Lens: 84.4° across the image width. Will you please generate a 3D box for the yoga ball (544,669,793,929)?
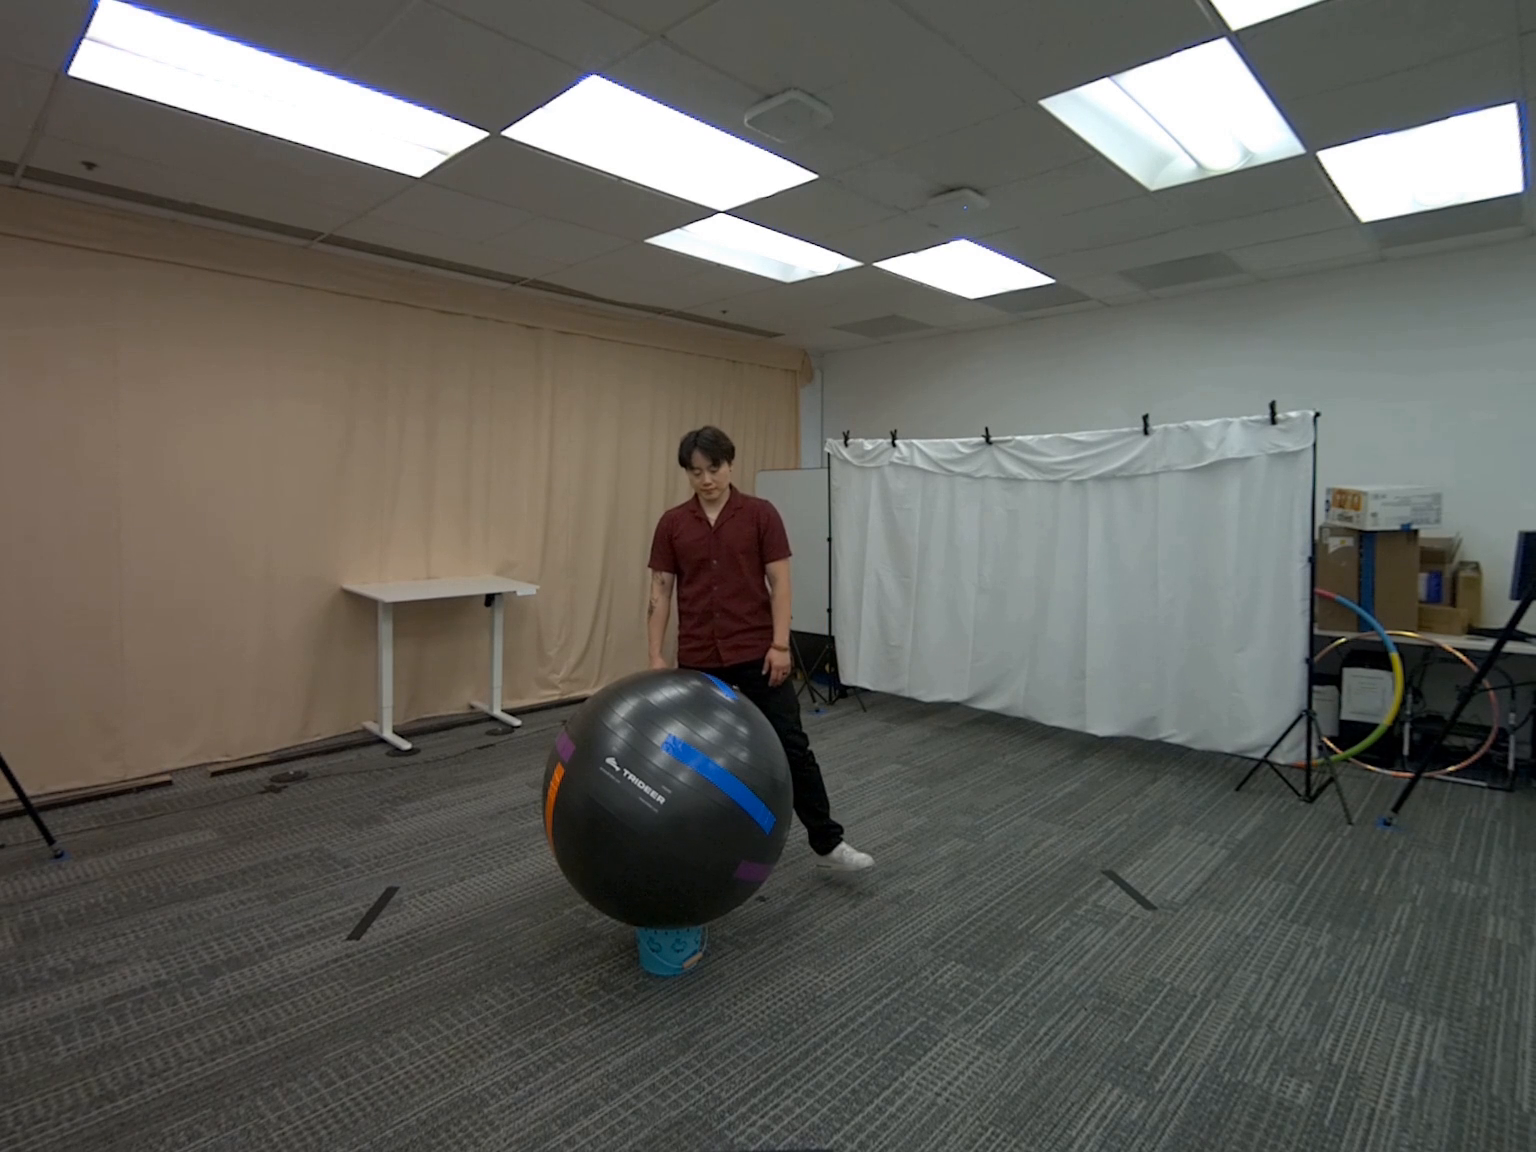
[{"bbox_3d":[-0.306,0.667,2.568,0.757,0.756,0.760,0,4,-2],"label":"yoga ball"}]
